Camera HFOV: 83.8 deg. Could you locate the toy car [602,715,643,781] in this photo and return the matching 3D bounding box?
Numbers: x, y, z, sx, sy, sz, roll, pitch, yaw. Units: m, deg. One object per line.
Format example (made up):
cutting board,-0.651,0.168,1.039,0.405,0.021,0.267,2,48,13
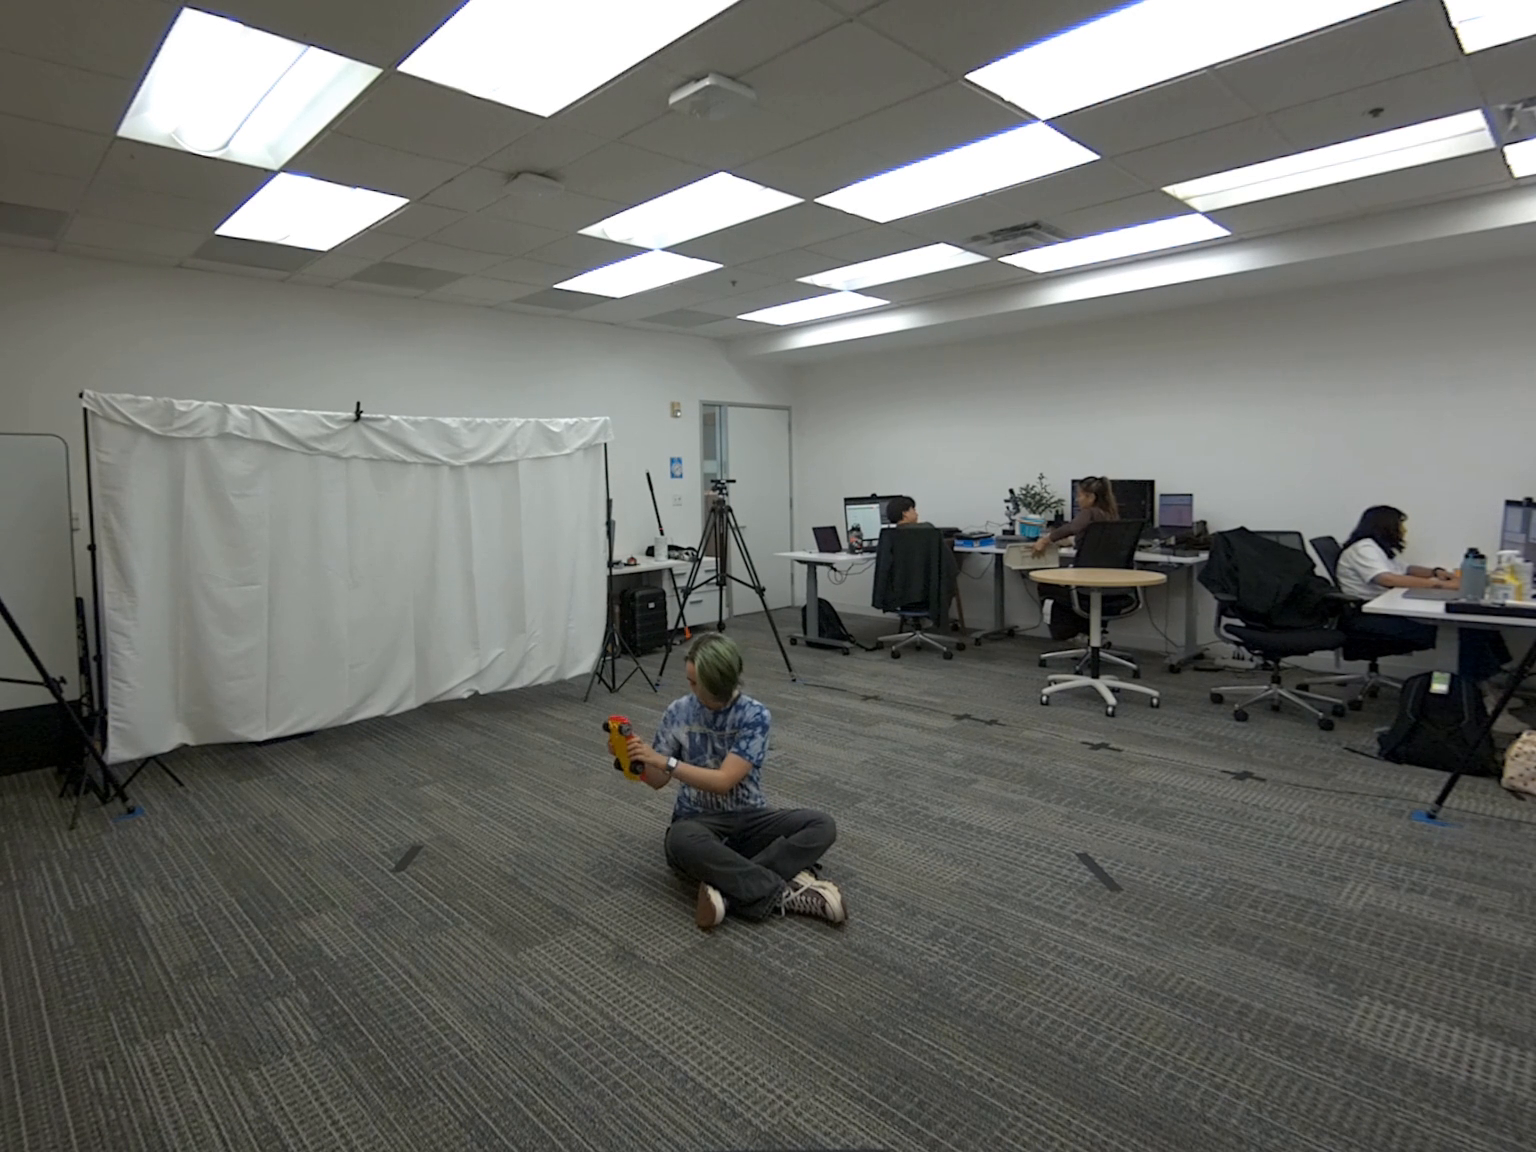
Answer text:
toy car,-0.478,0.607,2.949,0.134,0.249,0.083,-3,27,44
